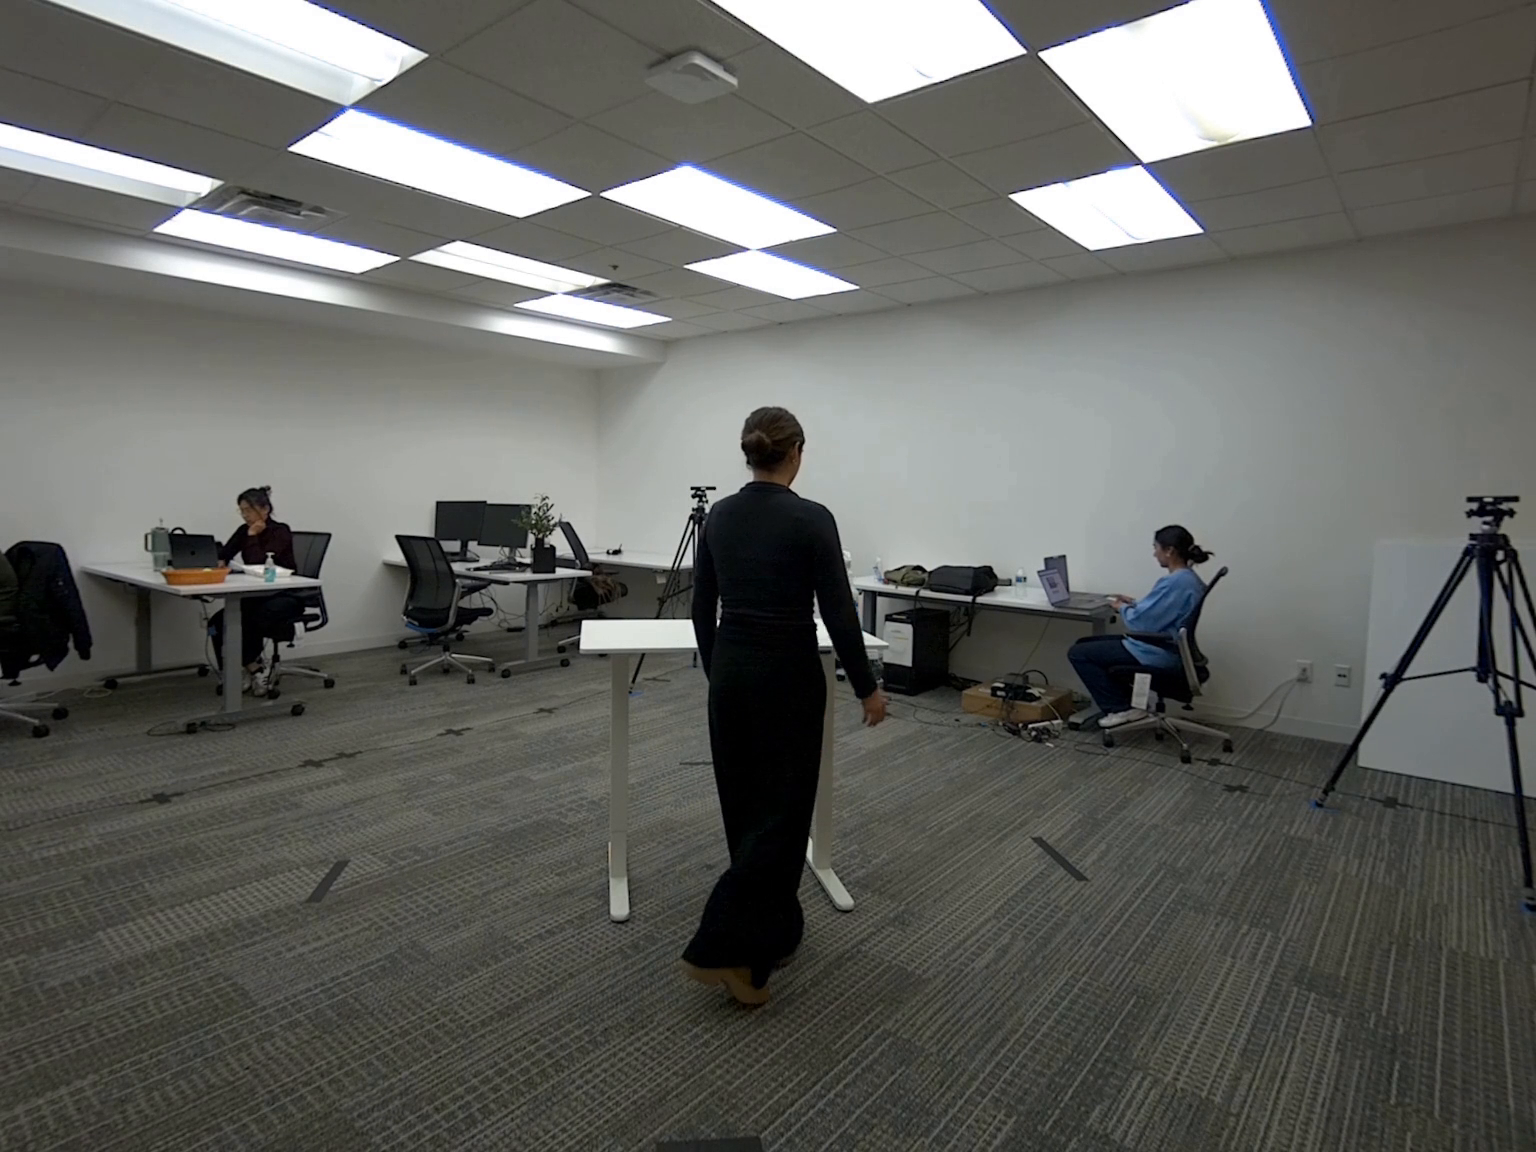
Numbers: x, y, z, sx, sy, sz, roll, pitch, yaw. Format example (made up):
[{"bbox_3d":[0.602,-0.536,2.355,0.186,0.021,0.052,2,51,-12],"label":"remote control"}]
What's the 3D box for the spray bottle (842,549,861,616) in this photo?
[{"bbox_3d":[0.259,0.067,2.896,0.088,0.296,0.089,1,3,15],"label":"spray bottle"}]
